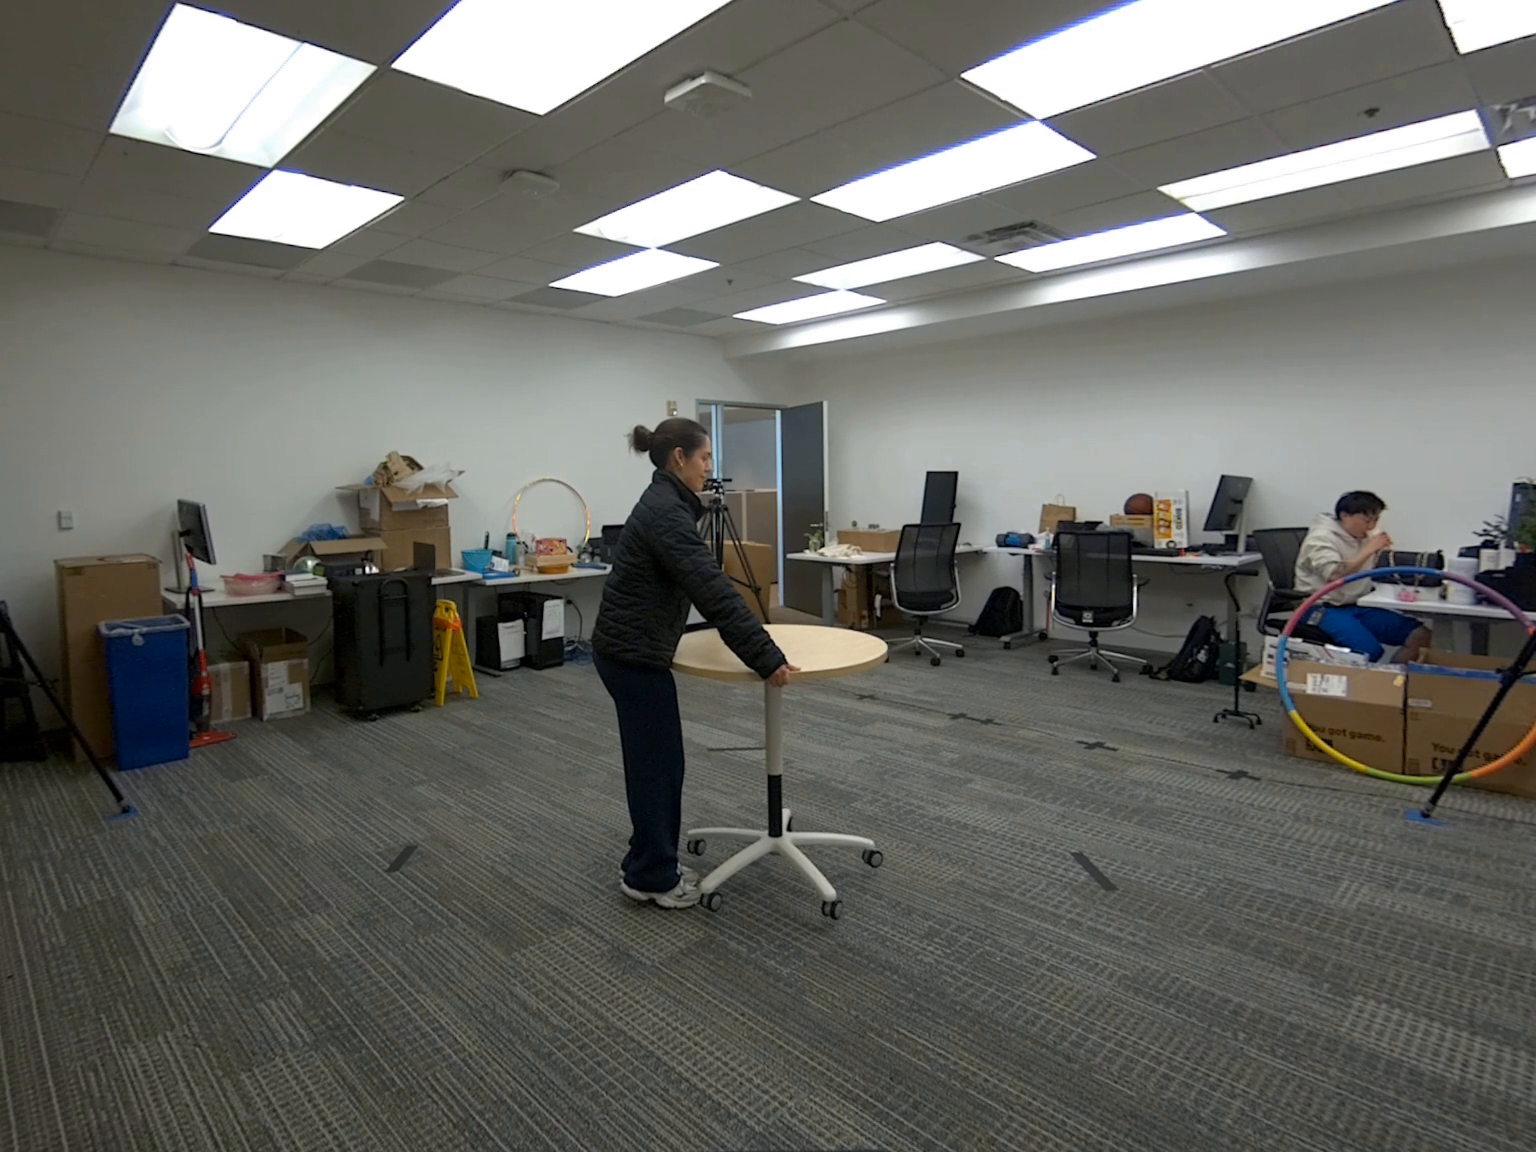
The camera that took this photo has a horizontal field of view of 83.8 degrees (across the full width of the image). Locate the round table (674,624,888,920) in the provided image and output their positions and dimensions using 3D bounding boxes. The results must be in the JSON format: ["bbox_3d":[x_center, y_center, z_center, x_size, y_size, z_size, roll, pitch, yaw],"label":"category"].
[{"bbox_3d":[0.015,0.631,2.916,0.785,0.783,0.789,-2,5,-1],"label":"round table"}]
